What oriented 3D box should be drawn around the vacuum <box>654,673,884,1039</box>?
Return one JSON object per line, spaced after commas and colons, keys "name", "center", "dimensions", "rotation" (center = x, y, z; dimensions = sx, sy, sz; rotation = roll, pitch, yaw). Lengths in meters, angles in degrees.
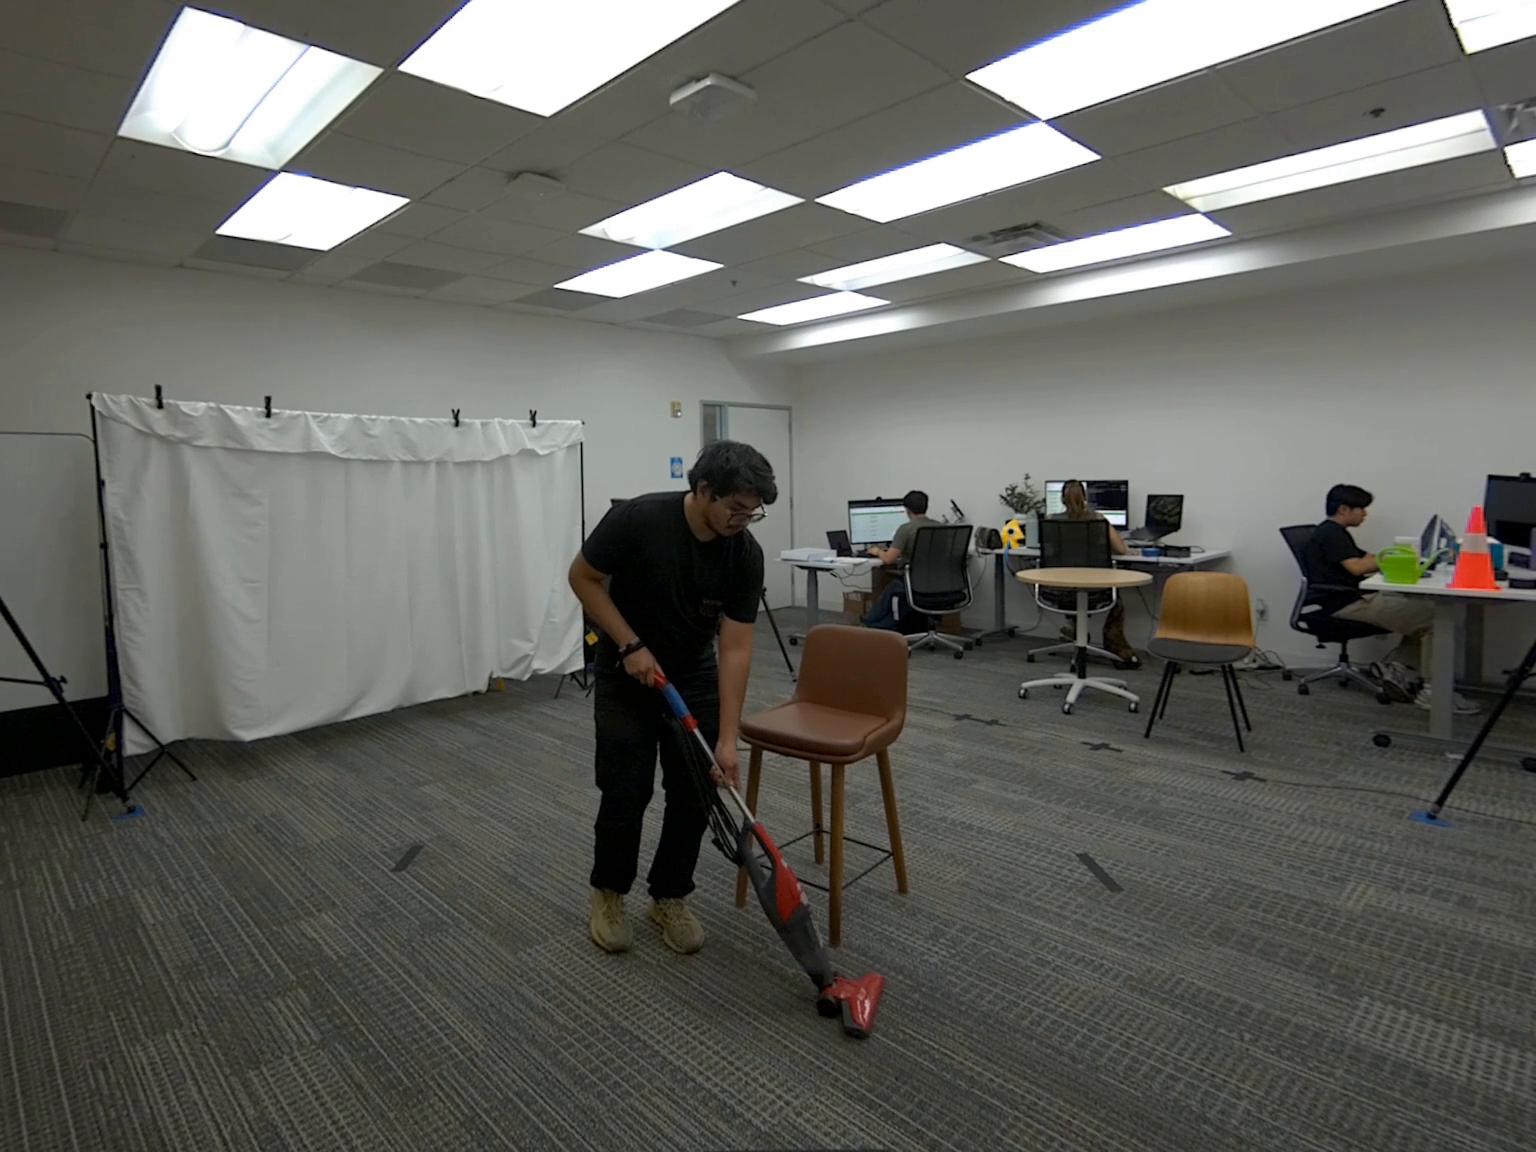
{"name": "vacuum", "center": [-0.059, 0.691, 2.339], "dimensions": [0.145, 1.062, 0.248], "rotation": [-37, -10, 25]}
